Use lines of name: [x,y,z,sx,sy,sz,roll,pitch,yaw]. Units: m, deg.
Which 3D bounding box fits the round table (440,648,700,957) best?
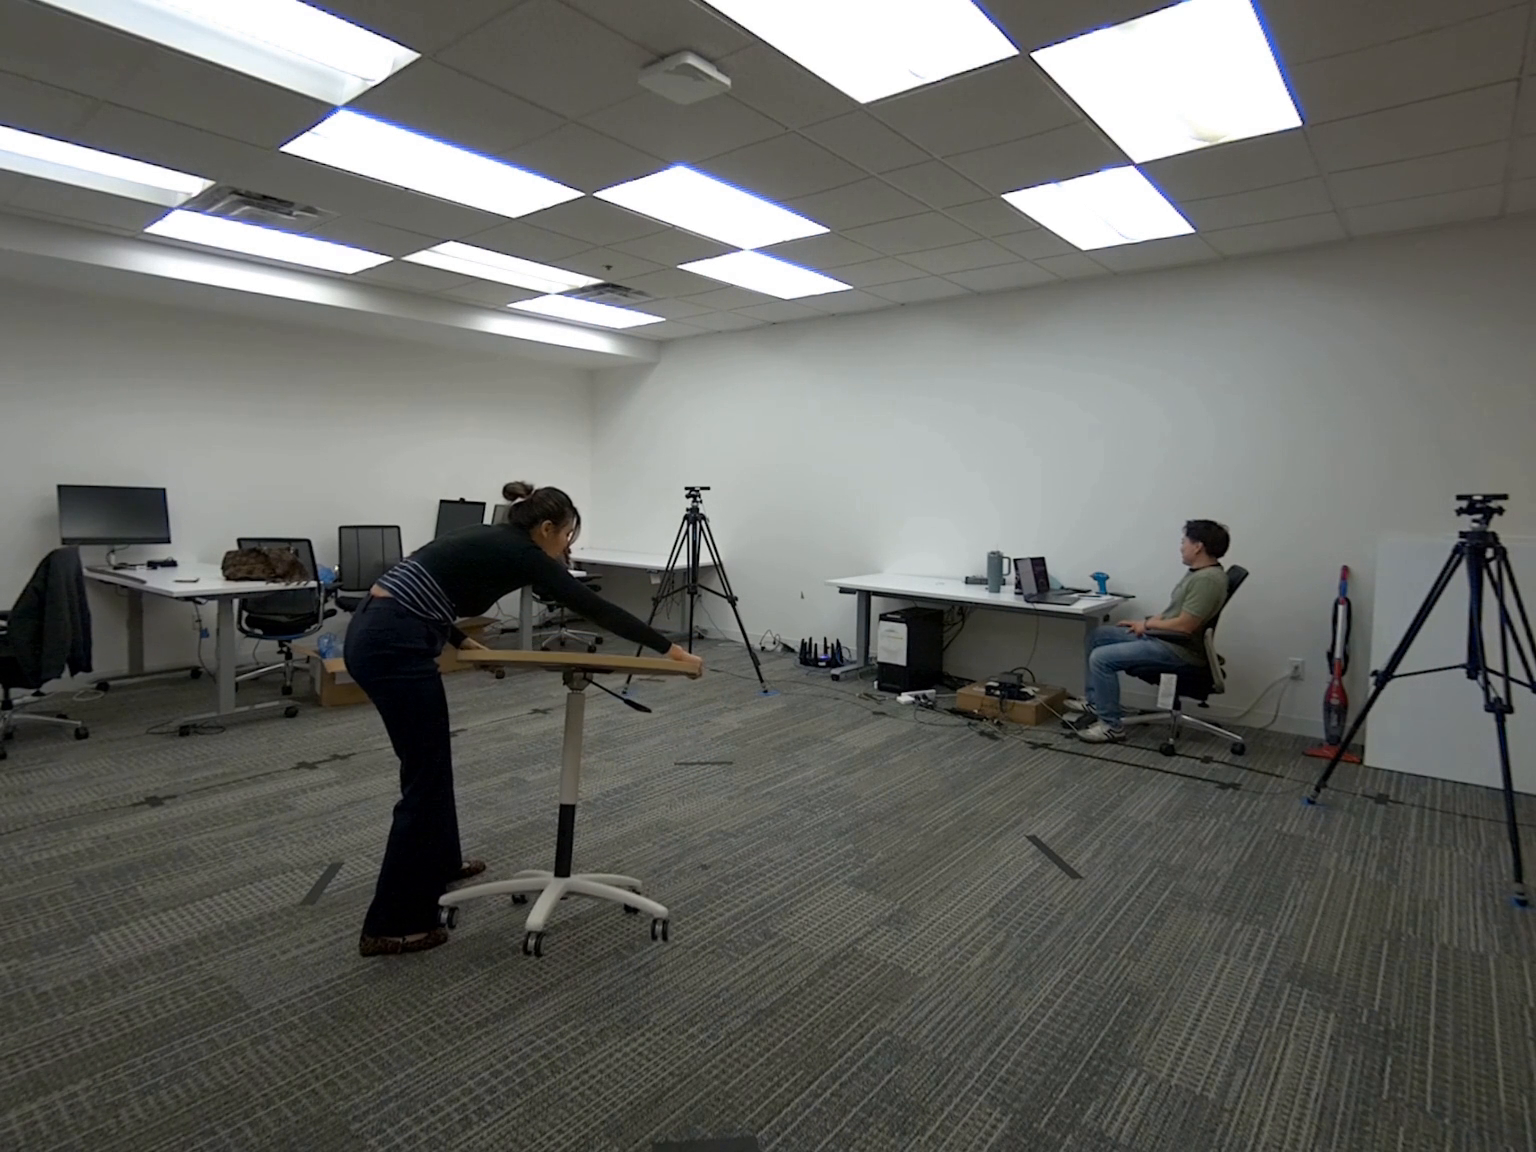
round table: [-0.620,0.663,2.621,0.764,0.802,0.757,2,-10,-1]
